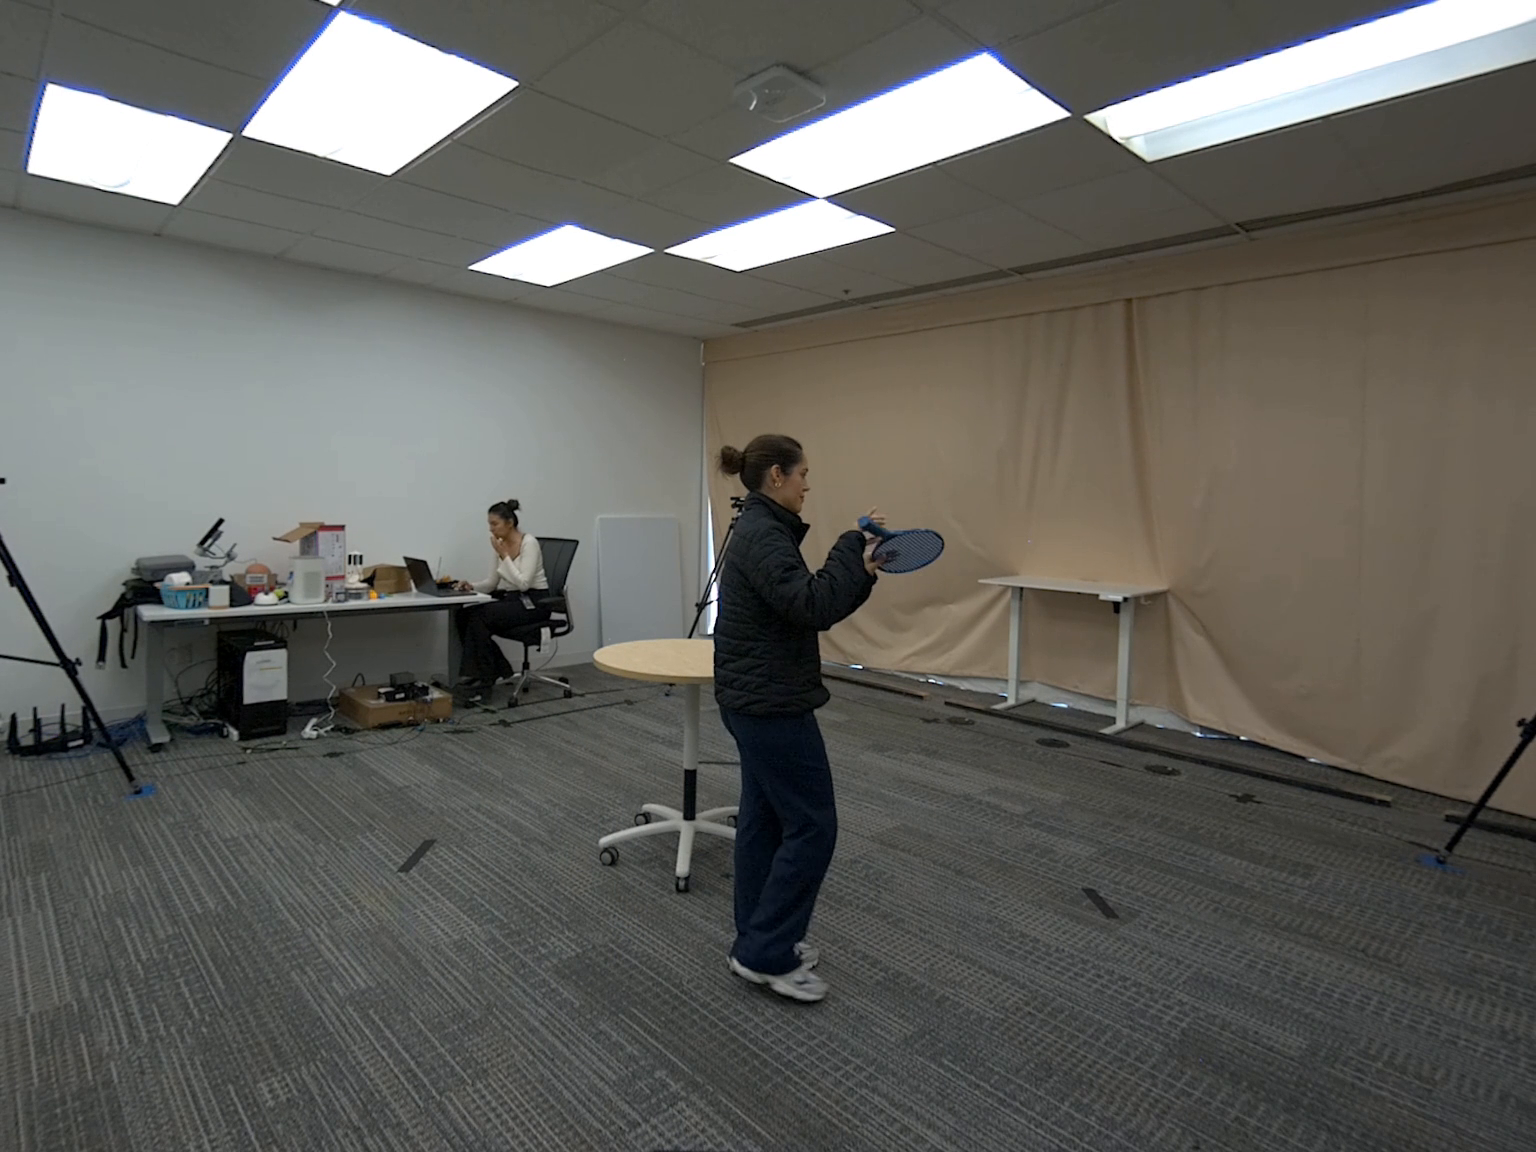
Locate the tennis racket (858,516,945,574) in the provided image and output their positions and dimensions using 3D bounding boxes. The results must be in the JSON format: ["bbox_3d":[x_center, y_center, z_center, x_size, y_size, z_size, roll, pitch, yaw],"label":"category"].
[{"bbox_3d":[0.373,-0.088,2.392,0.215,0.032,0.420,-28,-30,19],"label":"tennis racket"}]
